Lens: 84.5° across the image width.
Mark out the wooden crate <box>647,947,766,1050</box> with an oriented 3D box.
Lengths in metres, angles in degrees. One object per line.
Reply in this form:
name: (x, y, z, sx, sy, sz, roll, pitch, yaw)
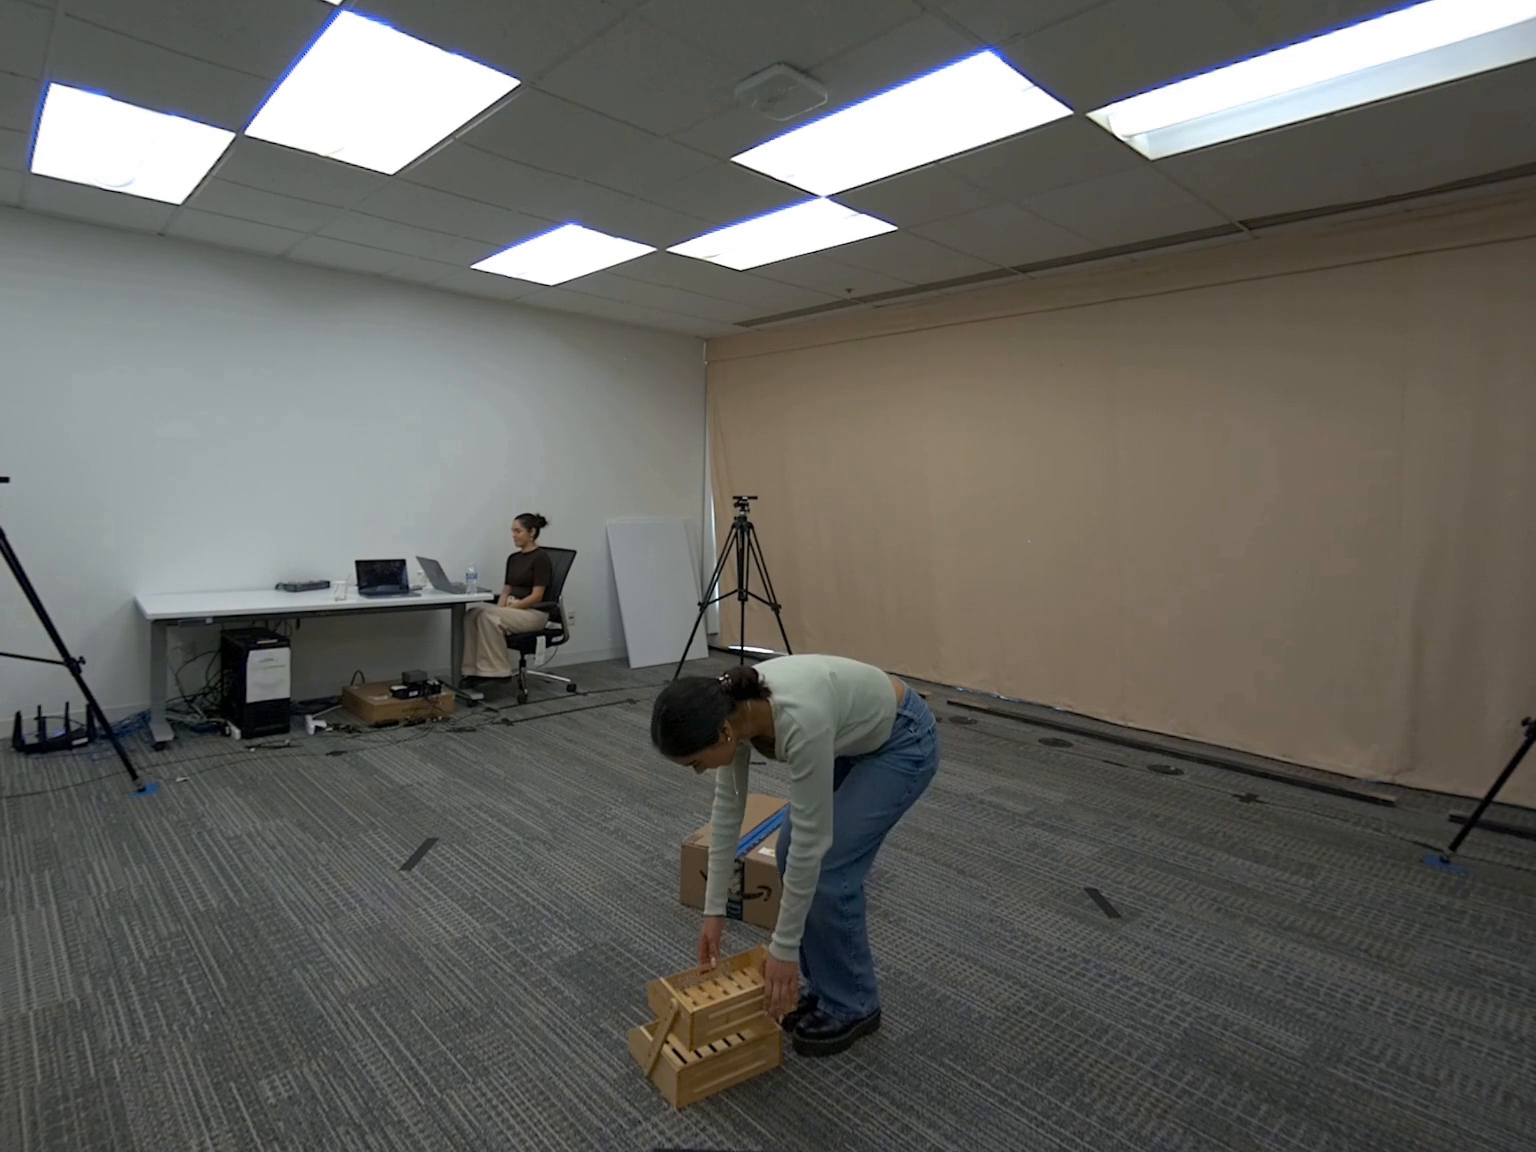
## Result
wooden crate: (-0.143, 1.057, 2.070, 0.317, 0.272, 0.310, -1, 6, -35)
